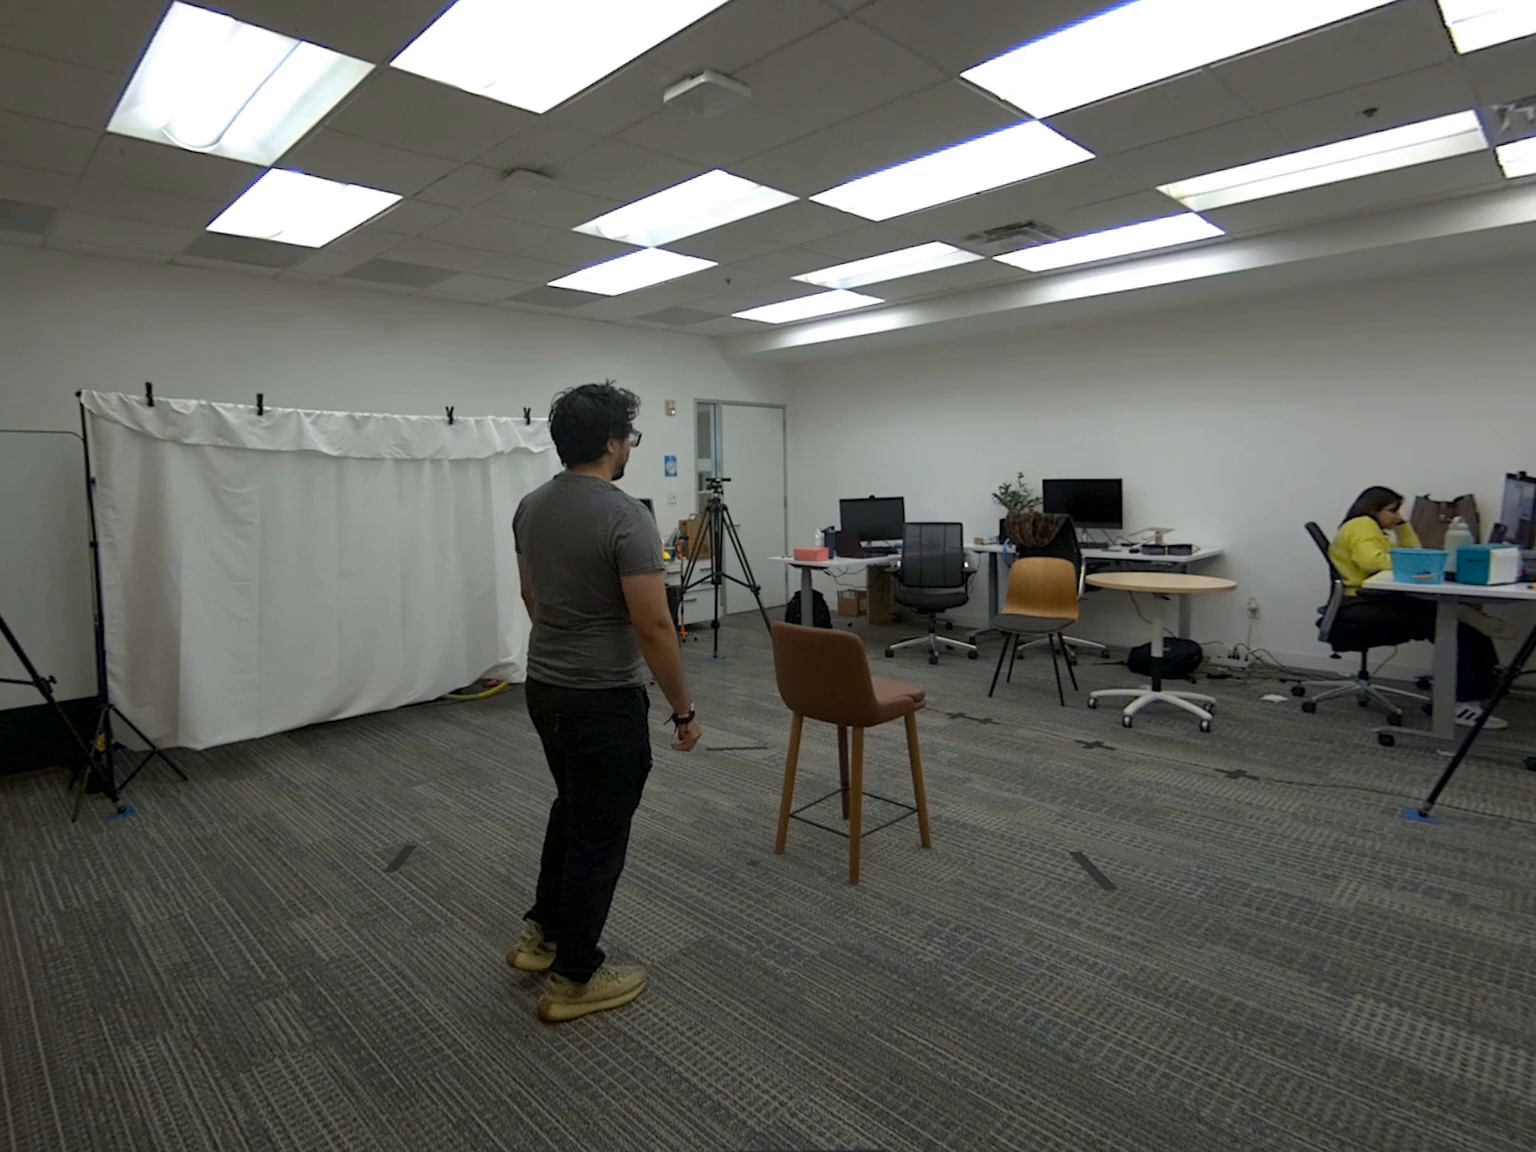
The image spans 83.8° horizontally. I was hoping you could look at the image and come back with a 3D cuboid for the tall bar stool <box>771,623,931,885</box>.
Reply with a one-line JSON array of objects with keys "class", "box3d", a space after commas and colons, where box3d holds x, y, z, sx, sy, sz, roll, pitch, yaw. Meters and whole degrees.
[{"class": "tall bar stool", "box3d": [0.305, 0.593, 3.180, 0.456, 0.885, 0.470, -7, 7, -44]}]
